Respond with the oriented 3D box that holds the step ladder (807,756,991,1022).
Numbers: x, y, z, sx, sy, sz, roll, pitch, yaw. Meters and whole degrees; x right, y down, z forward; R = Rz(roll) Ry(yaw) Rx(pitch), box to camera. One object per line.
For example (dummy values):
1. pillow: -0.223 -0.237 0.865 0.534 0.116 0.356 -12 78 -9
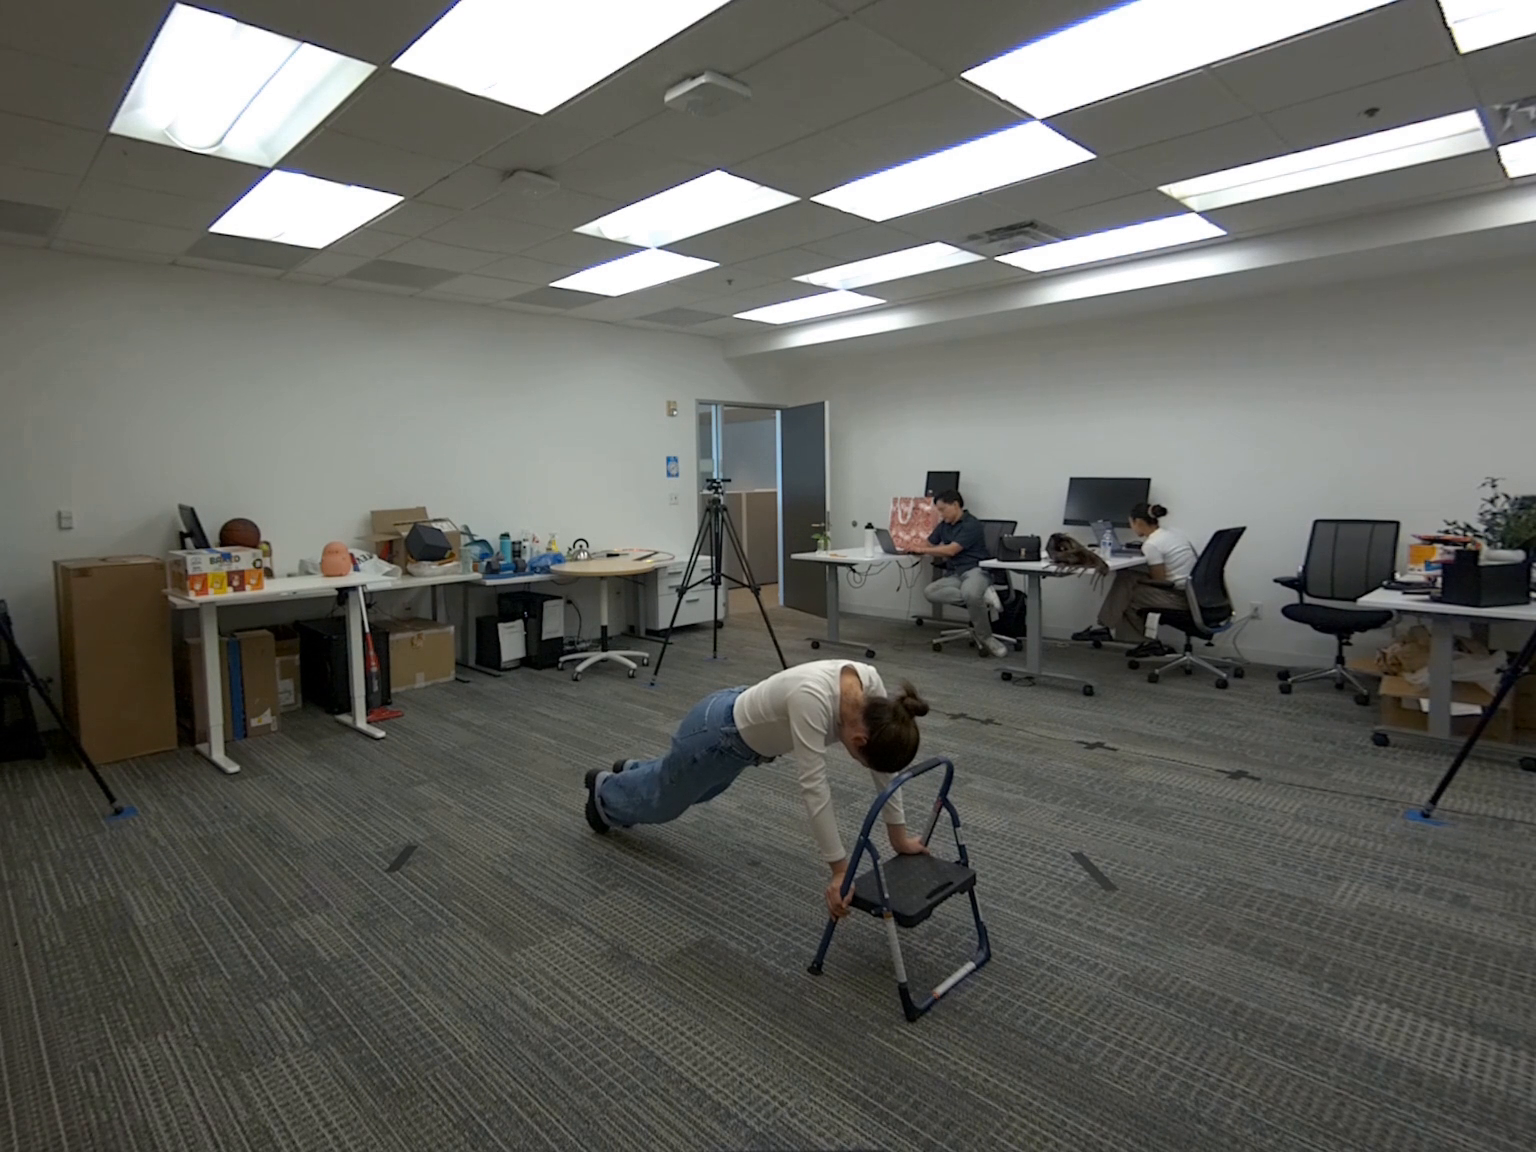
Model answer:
1. step ladder: 0.384 0.817 2.425 0.360 0.604 0.419 3 6 43
